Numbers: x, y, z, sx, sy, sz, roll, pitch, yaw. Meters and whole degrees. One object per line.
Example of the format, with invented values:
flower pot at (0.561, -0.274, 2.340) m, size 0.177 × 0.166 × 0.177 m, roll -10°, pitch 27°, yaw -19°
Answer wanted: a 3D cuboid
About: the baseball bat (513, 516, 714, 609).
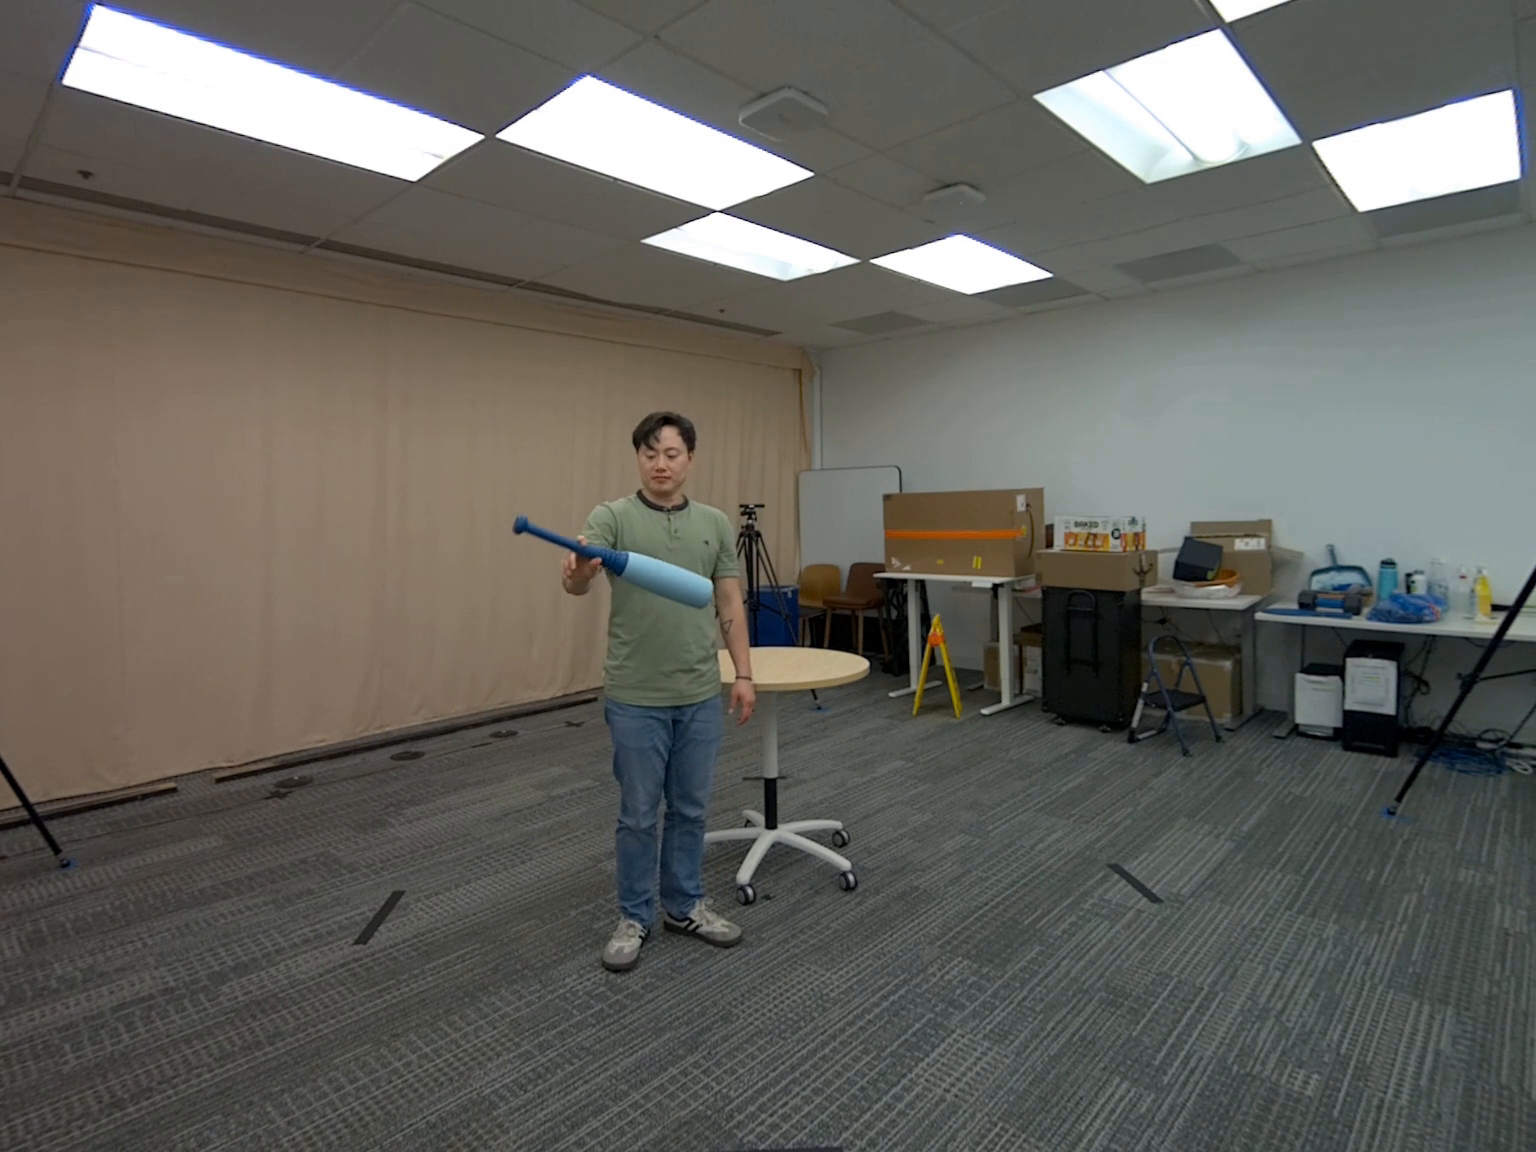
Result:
baseball bat at (-0.393, -0.033, 2.131) m, size 0.529 × 0.089 × 0.091 m, roll 23°, pitch -7°, yaw -23°
